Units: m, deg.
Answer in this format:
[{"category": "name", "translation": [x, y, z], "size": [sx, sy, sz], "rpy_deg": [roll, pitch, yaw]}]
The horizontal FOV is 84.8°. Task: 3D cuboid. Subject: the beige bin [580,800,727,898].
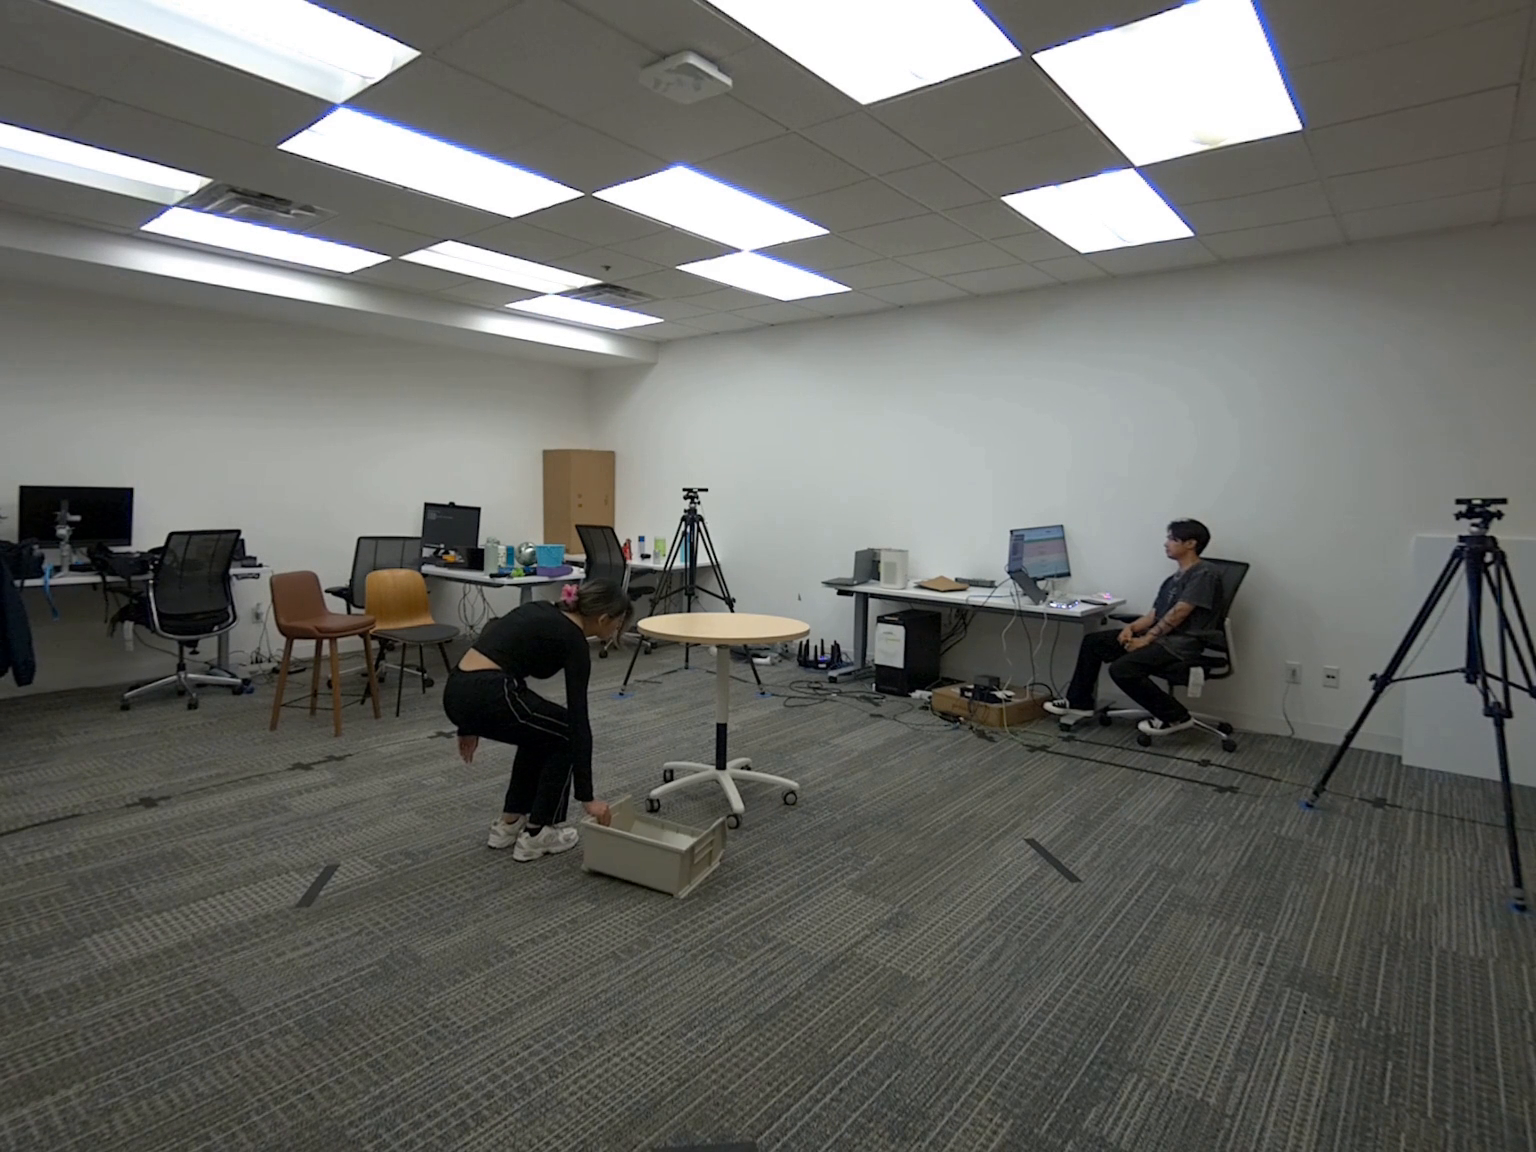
[{"category": "beige bin", "translation": [-0.422, 0.967, 3.109], "size": [0.433, 0.188, 0.370], "rpy_deg": [7, 8, 23]}]
